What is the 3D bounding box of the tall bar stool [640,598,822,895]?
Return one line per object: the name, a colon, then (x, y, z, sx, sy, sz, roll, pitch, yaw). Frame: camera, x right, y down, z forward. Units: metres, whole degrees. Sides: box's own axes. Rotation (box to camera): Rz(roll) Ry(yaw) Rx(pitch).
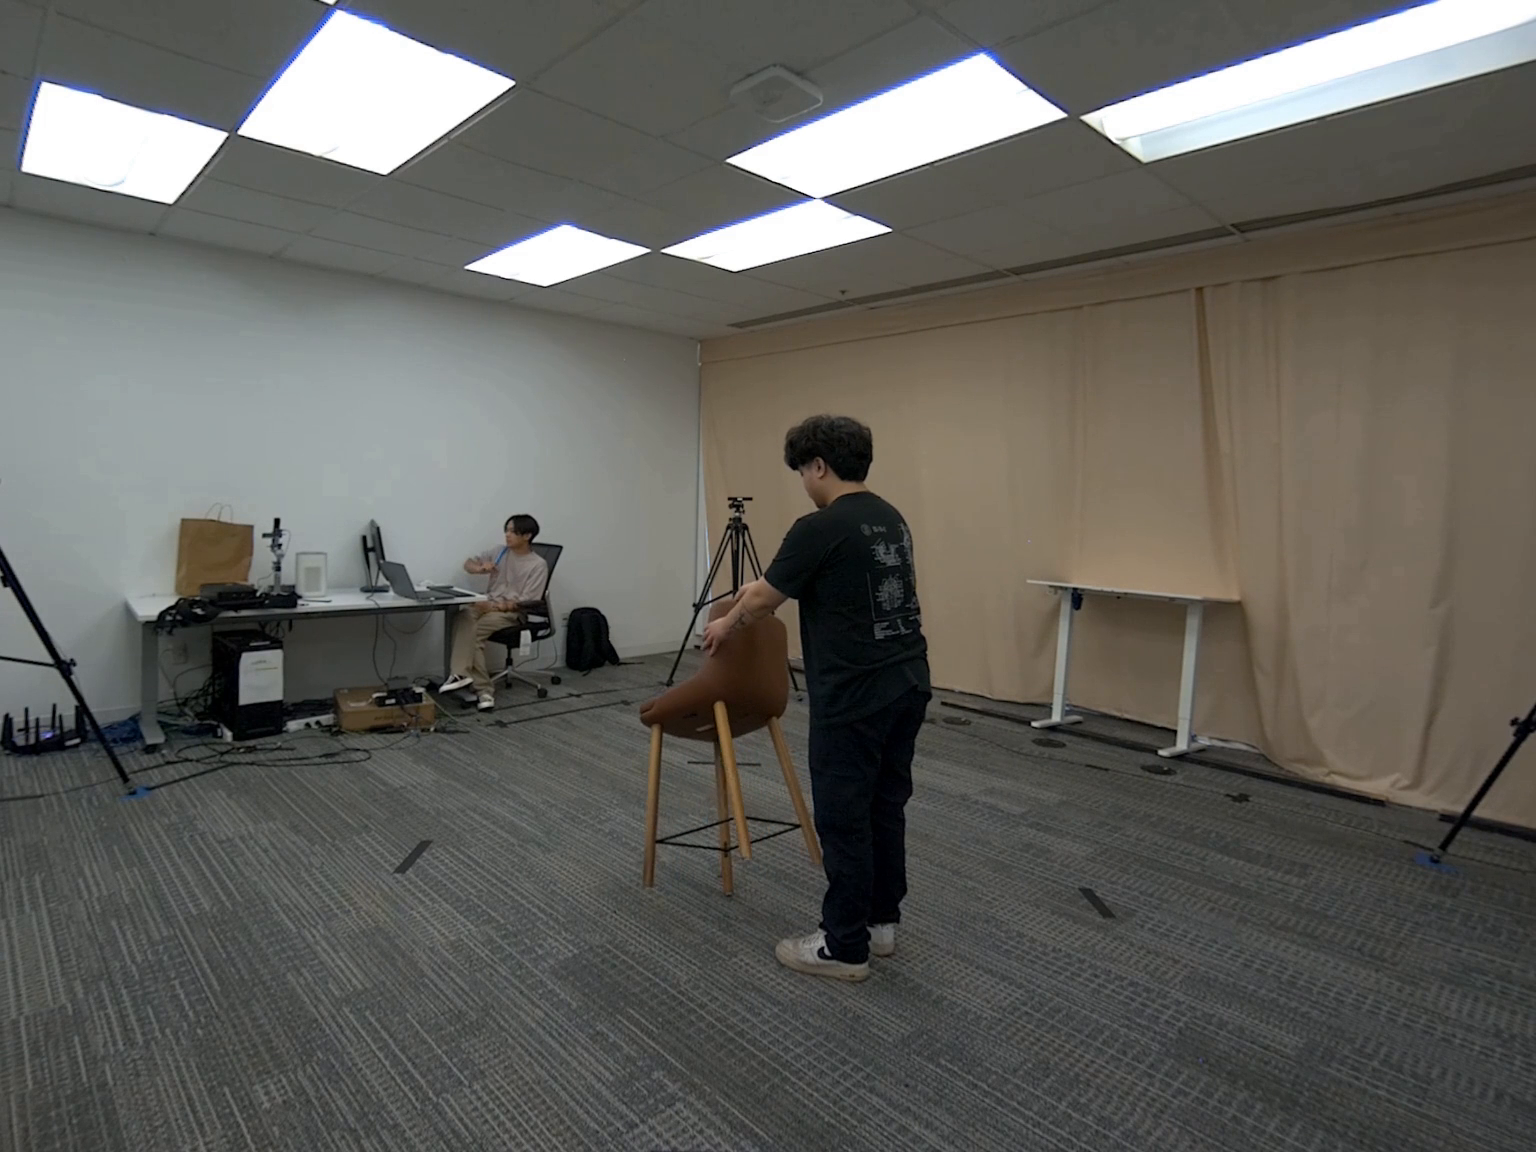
tall bar stool: (-0.165, 0.595, 2.937, 0.472, 0.908, 0.443, -28, -35, 34)
